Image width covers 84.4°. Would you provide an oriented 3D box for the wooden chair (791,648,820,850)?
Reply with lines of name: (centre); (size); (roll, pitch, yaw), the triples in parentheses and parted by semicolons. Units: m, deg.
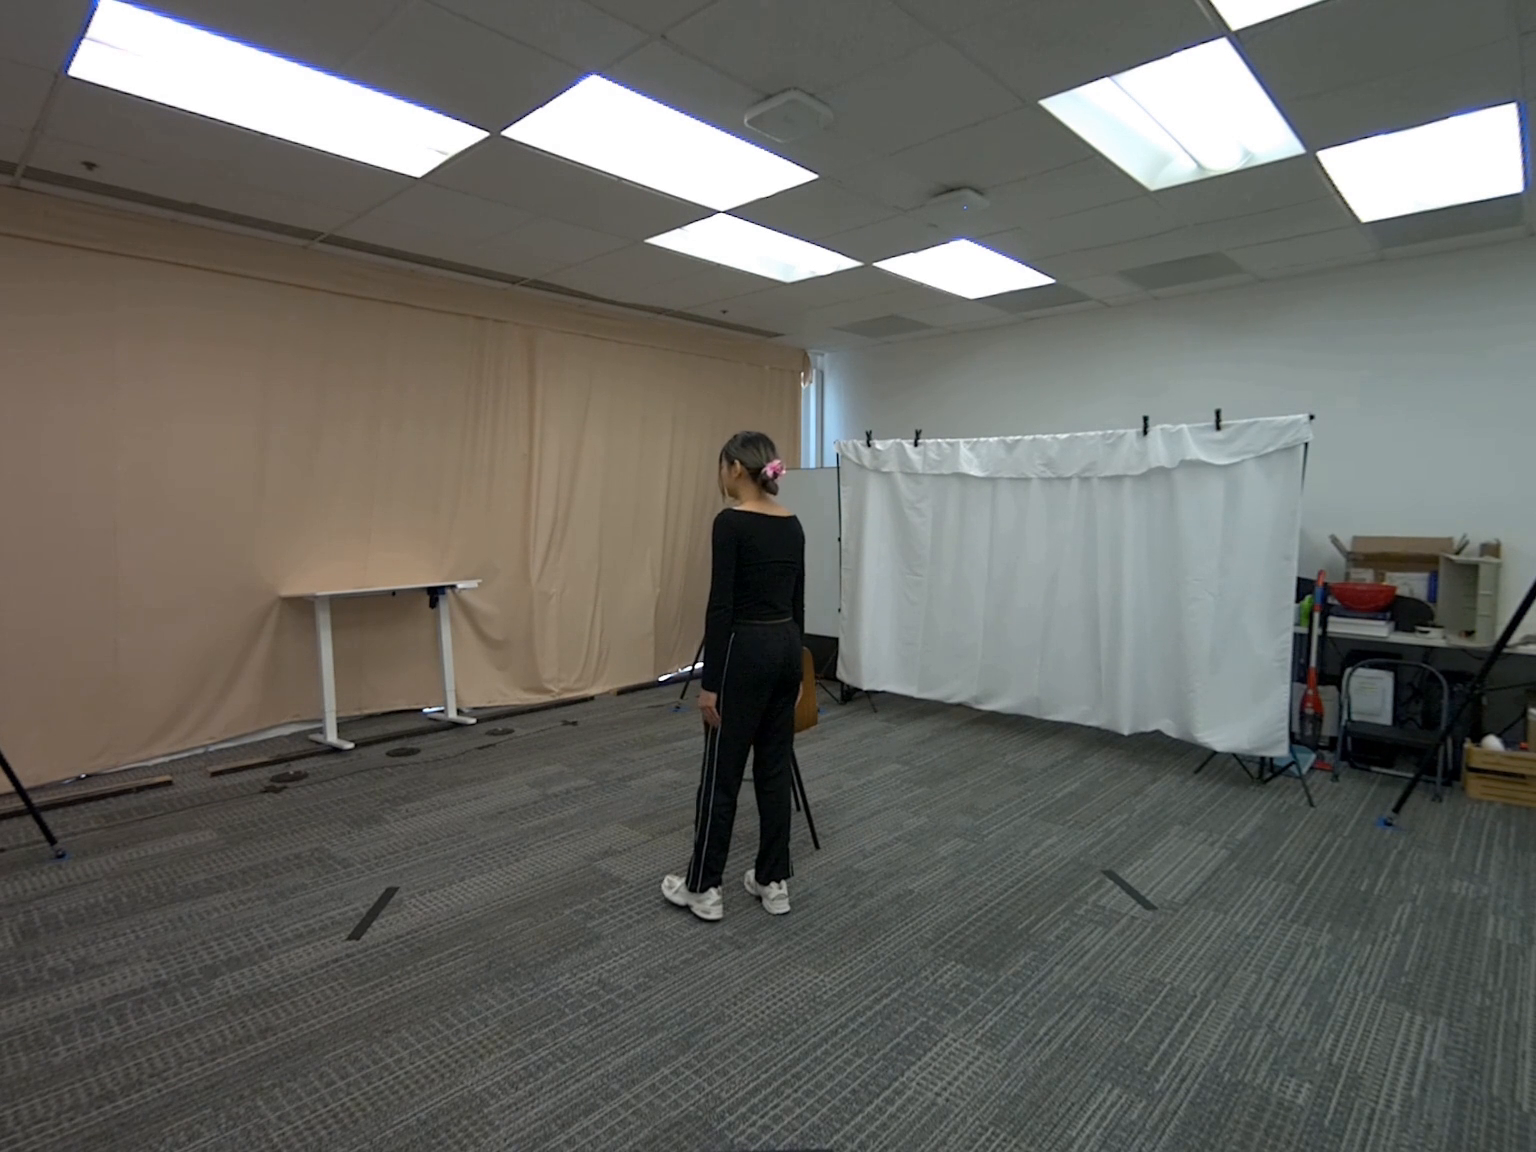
wooden chair: (-0.050, 0.664, 3.596); (0.475, 0.873, 0.528); (-1, 7, -6)
